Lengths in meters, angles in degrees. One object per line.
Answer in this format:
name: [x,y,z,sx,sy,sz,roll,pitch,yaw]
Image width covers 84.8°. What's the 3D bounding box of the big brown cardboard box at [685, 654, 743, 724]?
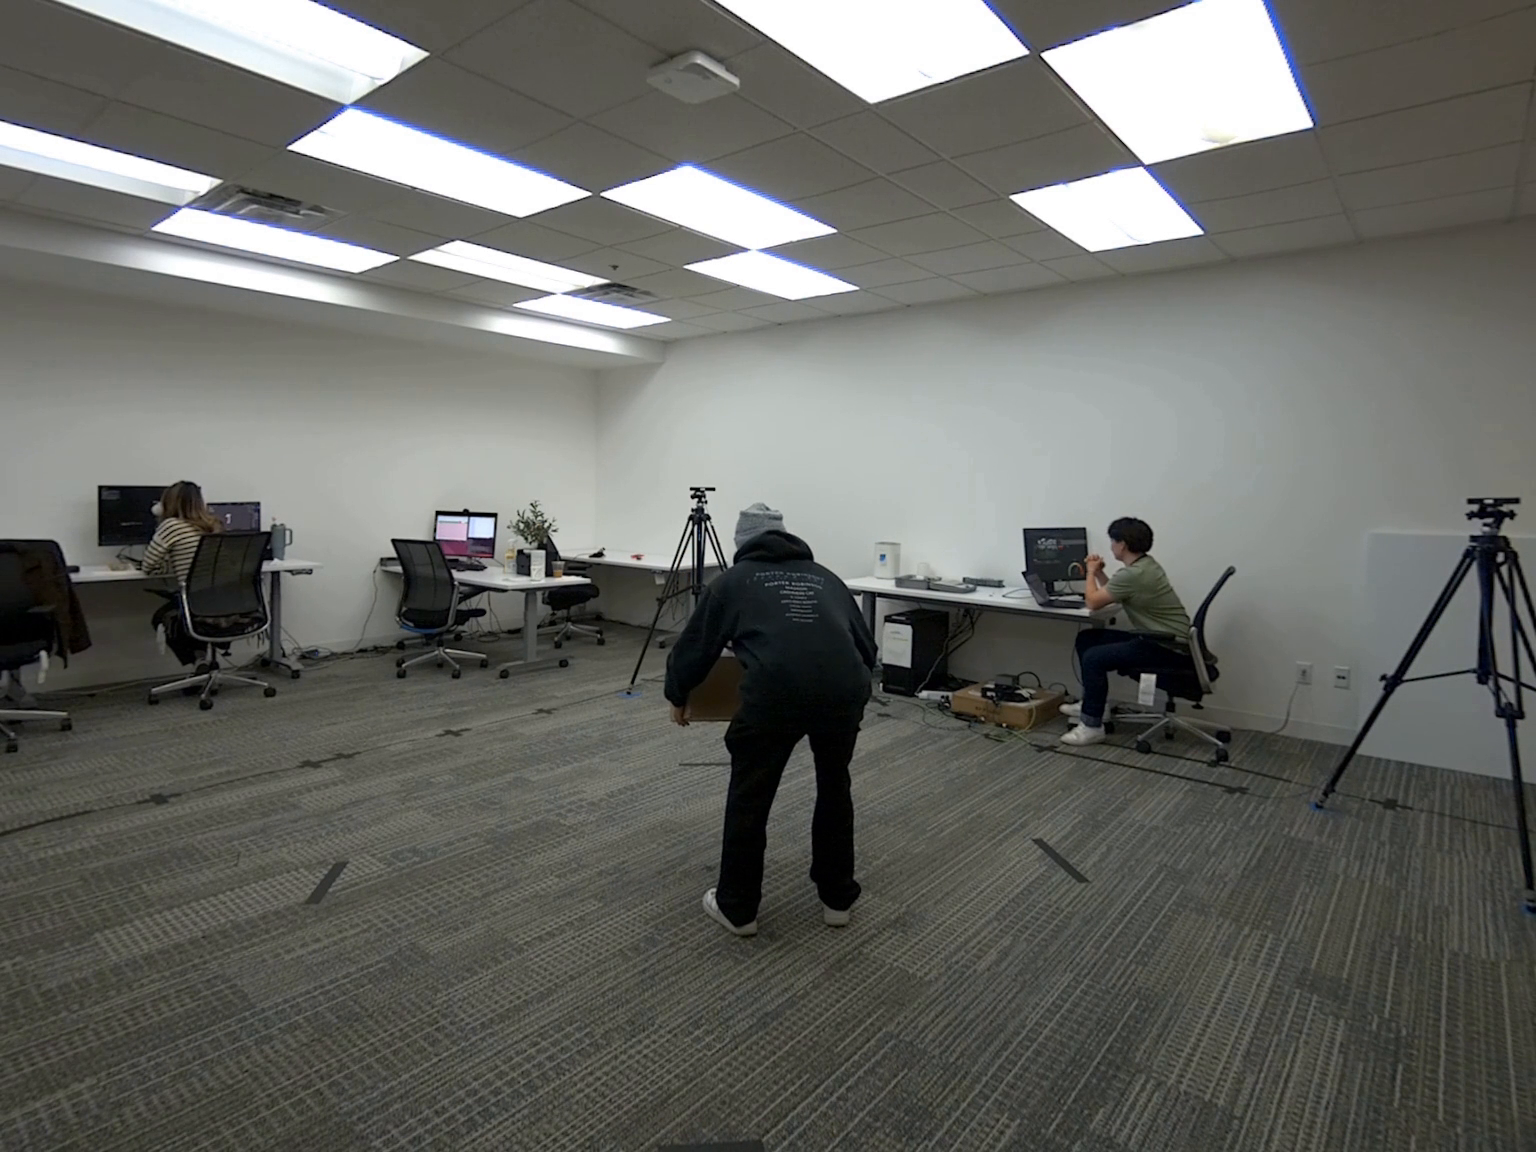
big brown cardboard box: [-0.060,0.426,3.193,0.581,0.236,0.417,2,-13,-12]
